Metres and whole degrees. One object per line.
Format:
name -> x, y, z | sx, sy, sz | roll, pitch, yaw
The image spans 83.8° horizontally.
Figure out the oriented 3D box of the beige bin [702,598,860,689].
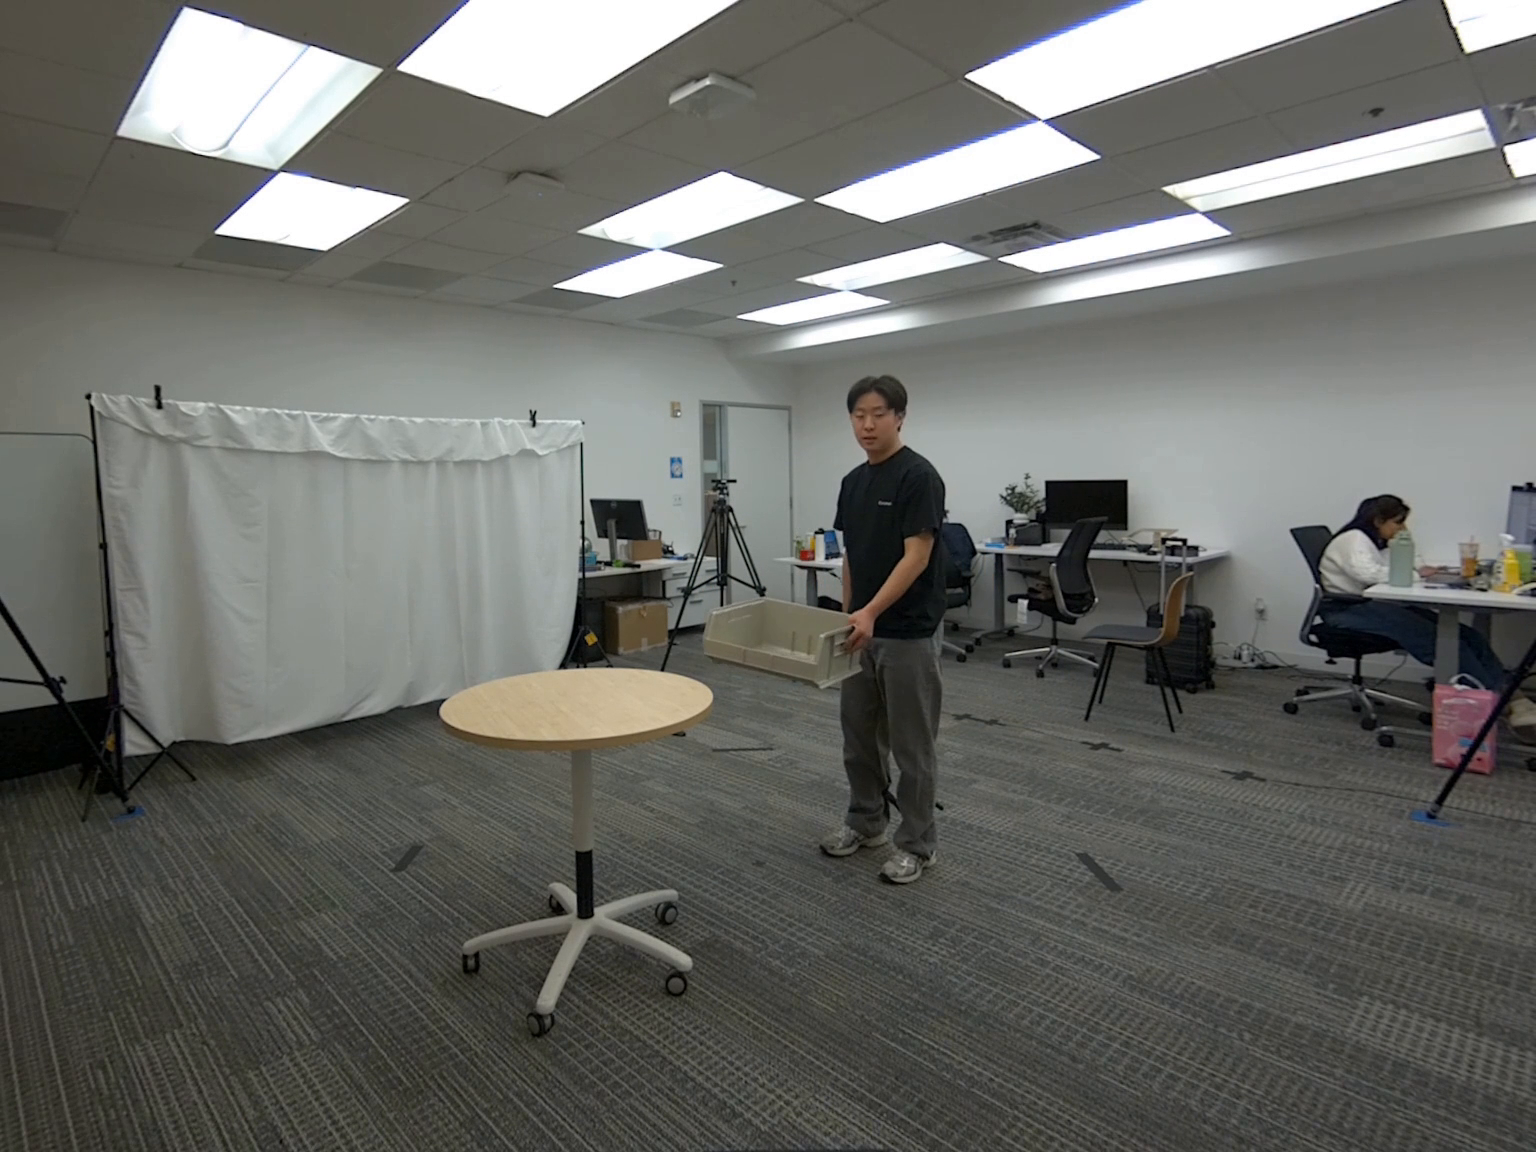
beige bin -> 0.060, 0.217, 2.834 | 0.435, 0.188, 0.368 | 9, 9, 30
